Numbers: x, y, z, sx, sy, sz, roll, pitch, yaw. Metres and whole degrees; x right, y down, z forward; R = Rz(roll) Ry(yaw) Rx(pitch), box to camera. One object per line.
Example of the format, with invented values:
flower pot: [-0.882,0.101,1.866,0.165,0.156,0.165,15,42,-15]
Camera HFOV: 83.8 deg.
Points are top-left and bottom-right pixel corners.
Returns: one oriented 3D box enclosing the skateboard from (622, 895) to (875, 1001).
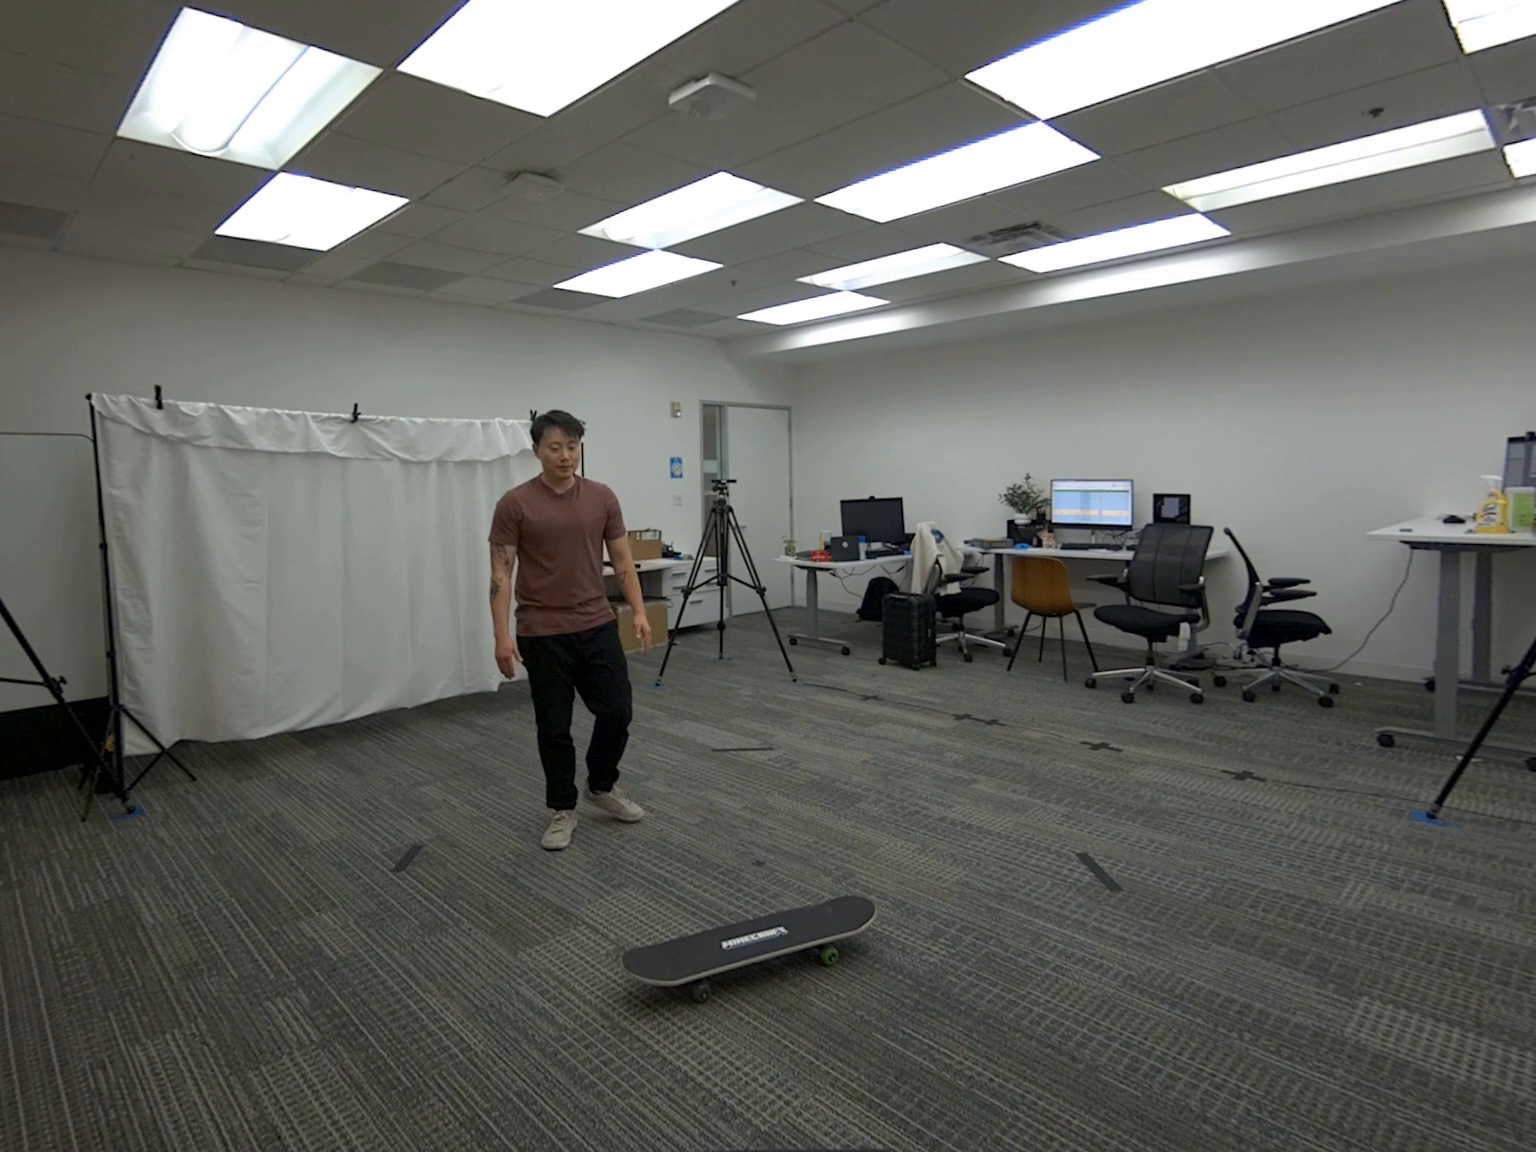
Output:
skateboard: [-0.030,1.065,2.448,0.770,0.110,0.198,-4,7,-24]
